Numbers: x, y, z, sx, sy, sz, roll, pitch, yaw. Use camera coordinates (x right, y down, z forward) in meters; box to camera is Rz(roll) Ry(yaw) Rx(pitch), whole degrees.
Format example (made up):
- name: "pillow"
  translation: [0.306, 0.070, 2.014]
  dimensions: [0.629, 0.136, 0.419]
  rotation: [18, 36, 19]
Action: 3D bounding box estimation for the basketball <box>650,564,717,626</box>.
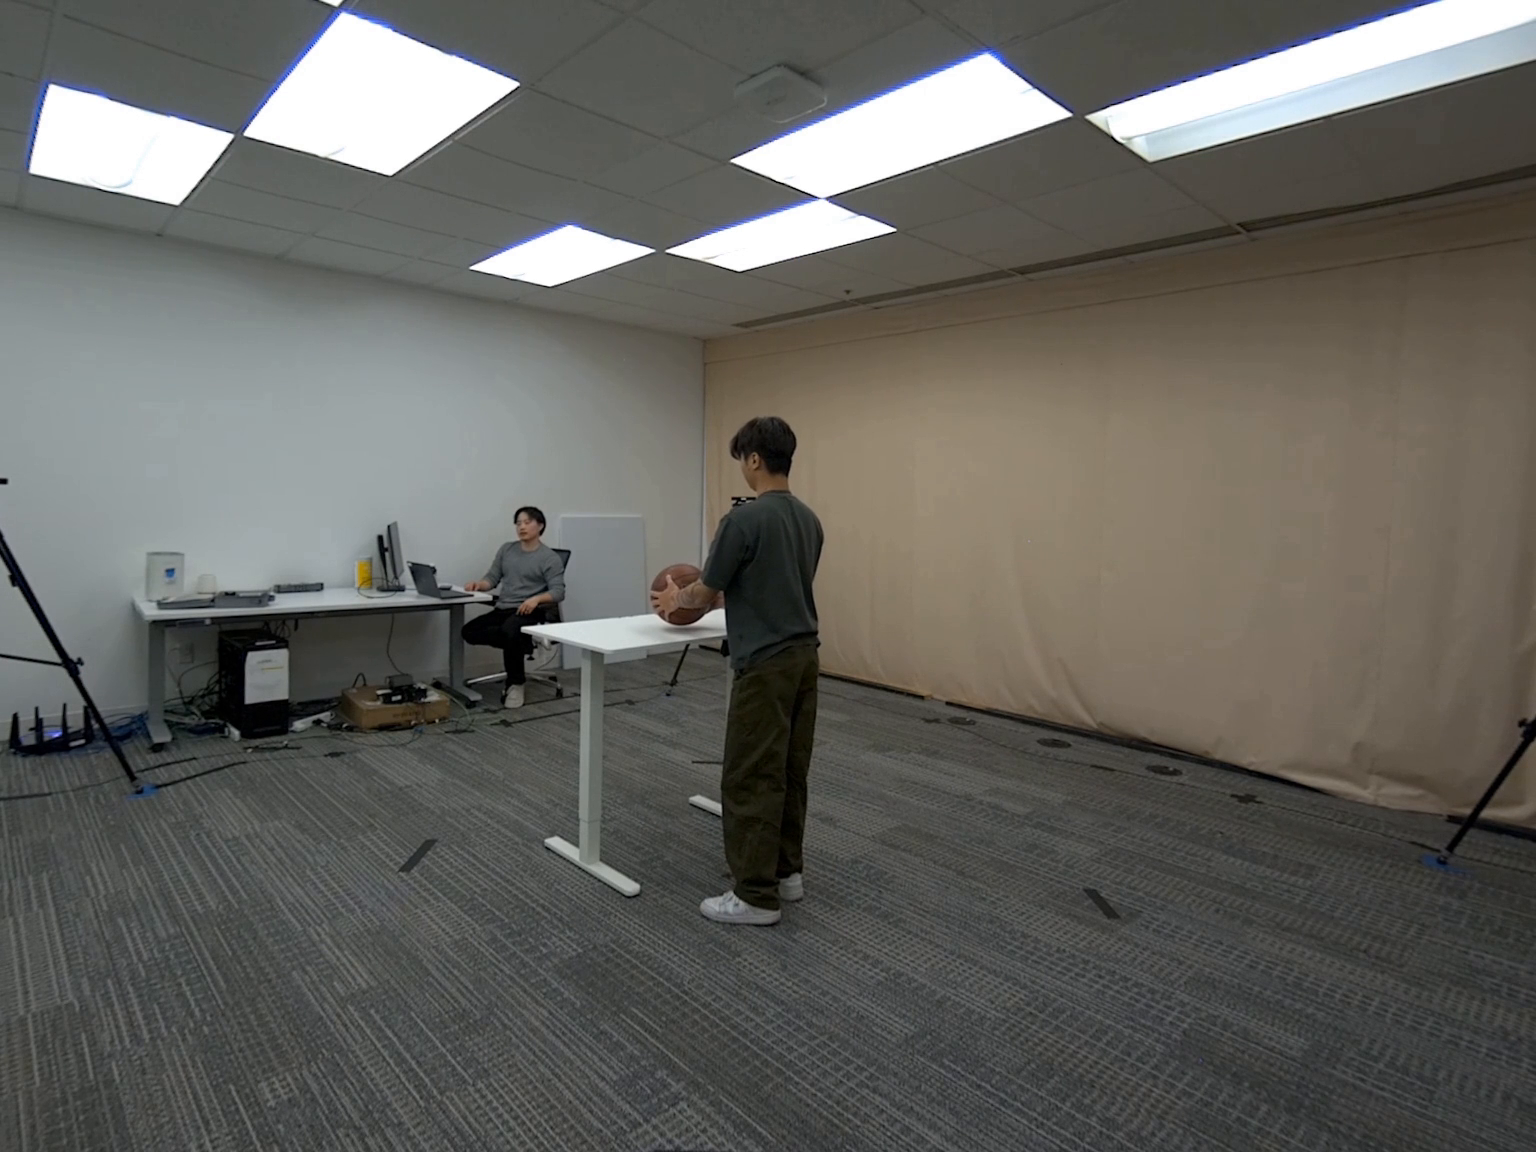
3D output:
- name: "basketball"
  translation: [-0.334, 0.072, 3.248]
  dimensions: [0.236, 0.235, 0.237]
  rotation: [1, 4, -1]
